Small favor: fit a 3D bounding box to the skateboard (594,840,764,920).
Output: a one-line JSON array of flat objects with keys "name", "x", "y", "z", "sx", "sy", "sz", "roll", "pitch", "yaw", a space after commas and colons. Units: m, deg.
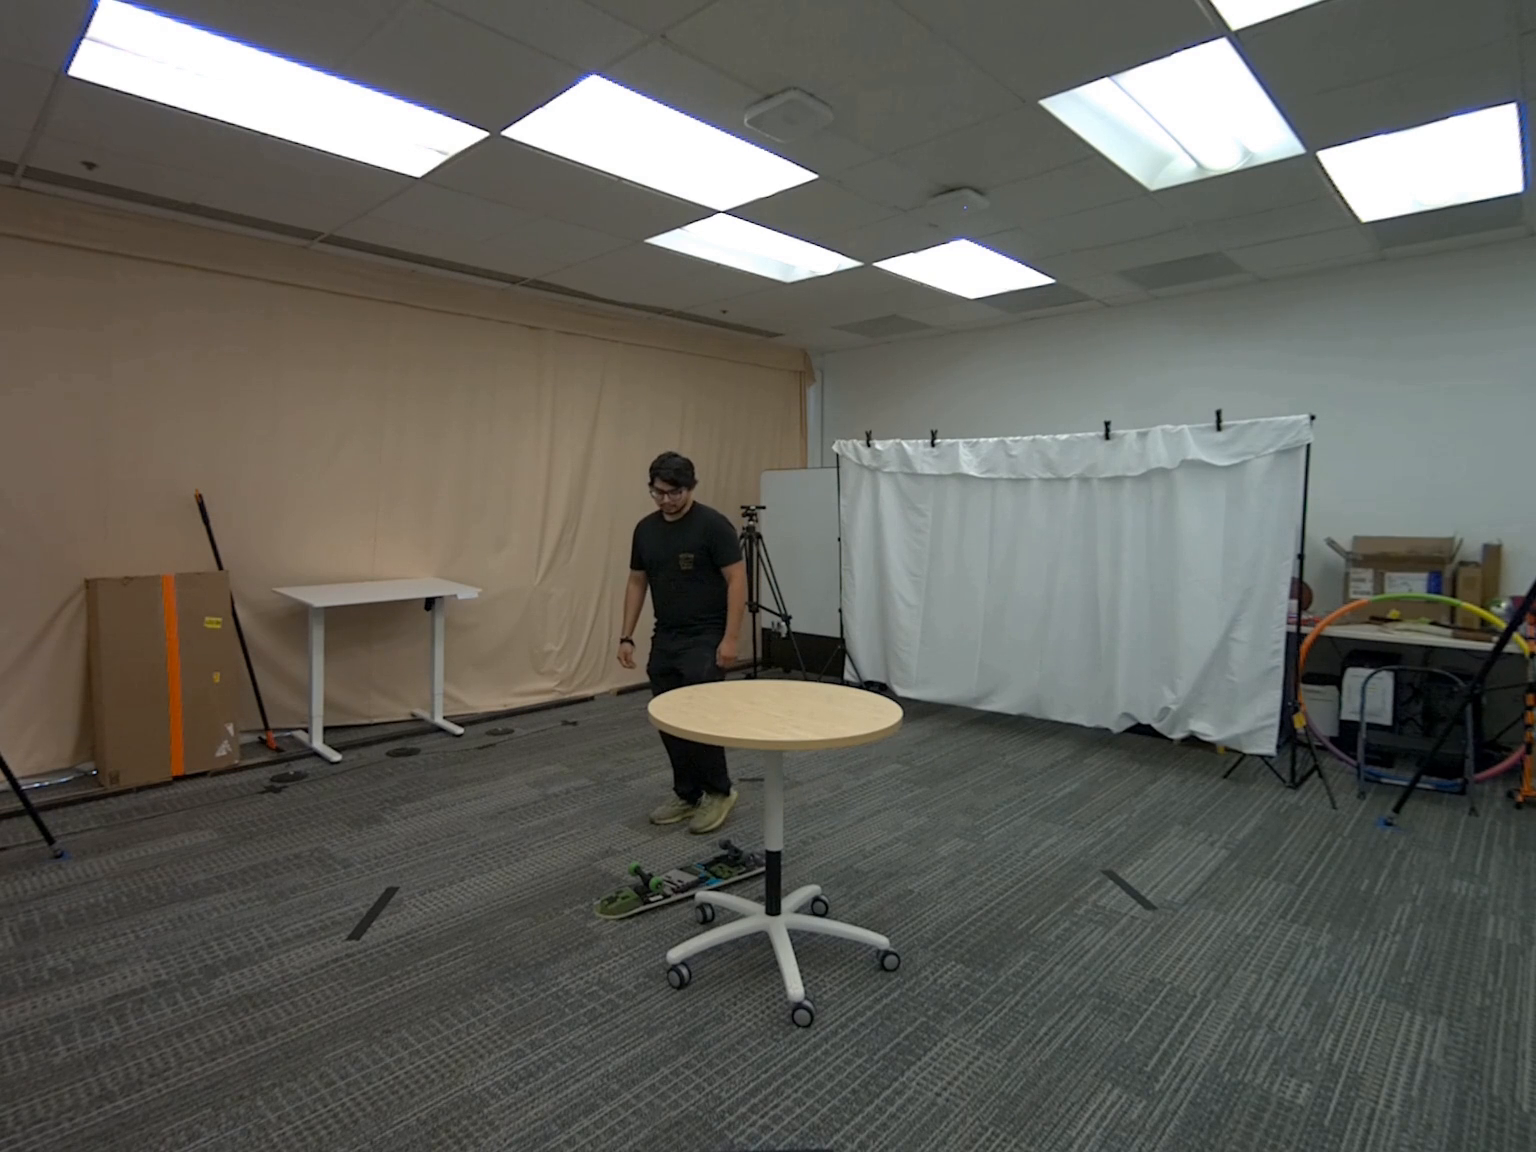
[{"name": "skateboard", "x": -0.276, "y": 1.084, "z": 3.093, "sx": 0.762, "sy": 0.110, "sz": 0.199, "roll": -4, "pitch": 4, "yaw": -36}]
